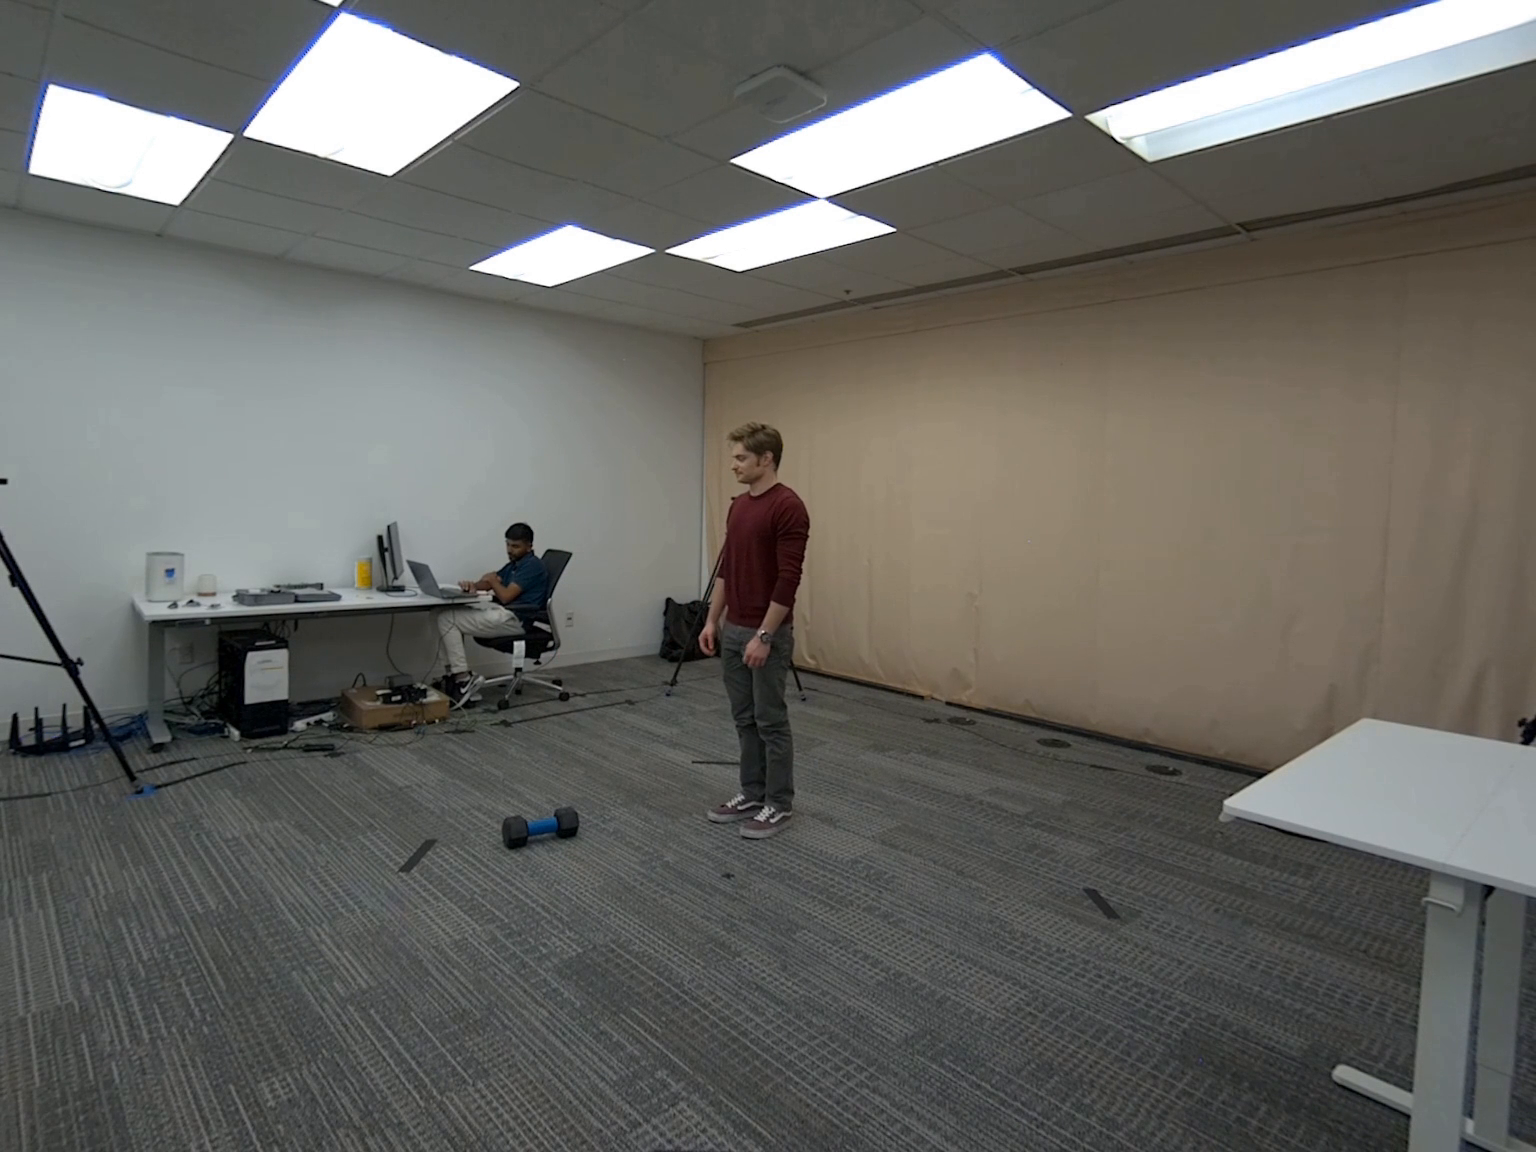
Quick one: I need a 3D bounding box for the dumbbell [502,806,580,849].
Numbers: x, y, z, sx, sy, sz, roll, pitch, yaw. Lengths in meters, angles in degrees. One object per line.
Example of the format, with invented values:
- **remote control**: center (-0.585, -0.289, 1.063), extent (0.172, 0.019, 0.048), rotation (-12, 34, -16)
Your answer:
- **dumbbell**: center (-0.923, 1.012, 3.386), extent (0.287, 0.121, 0.112), rotation (-2, 35, -33)
